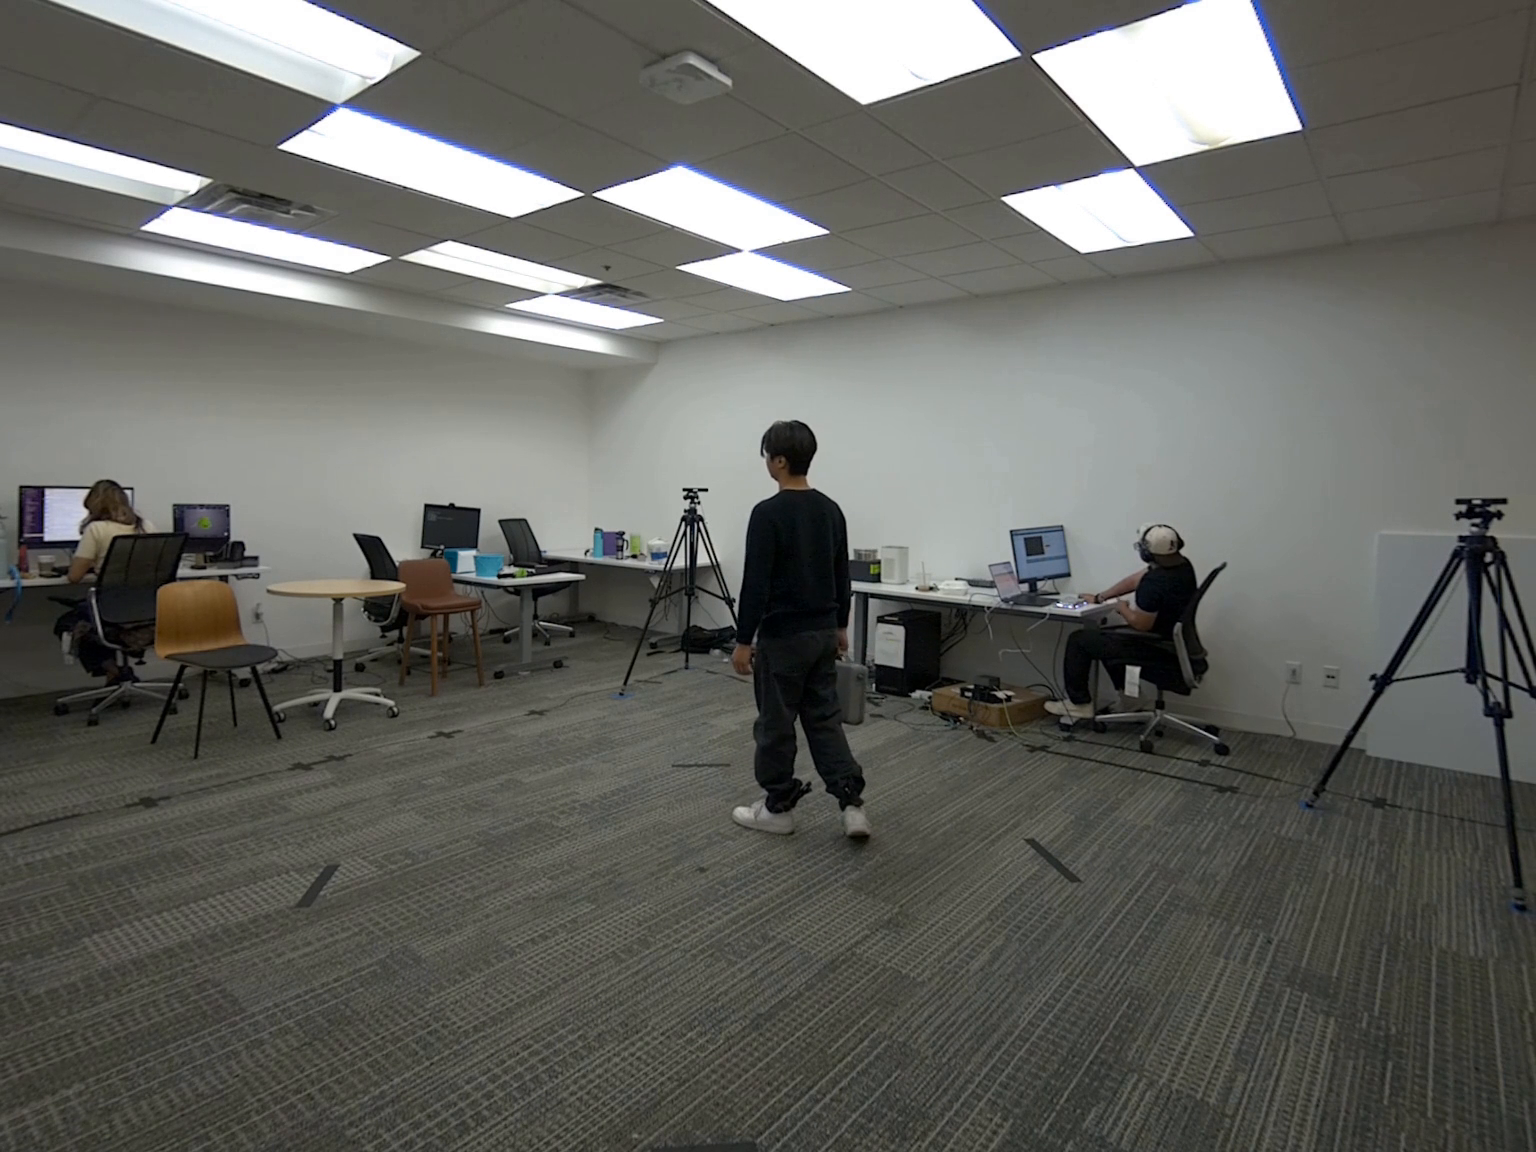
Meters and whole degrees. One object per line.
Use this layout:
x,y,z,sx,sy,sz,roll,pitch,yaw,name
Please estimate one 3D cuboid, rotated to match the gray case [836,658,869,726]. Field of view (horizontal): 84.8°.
0.295,0.487,3.656,0.101,0.261,0.264,6,-4,-35,gray case
